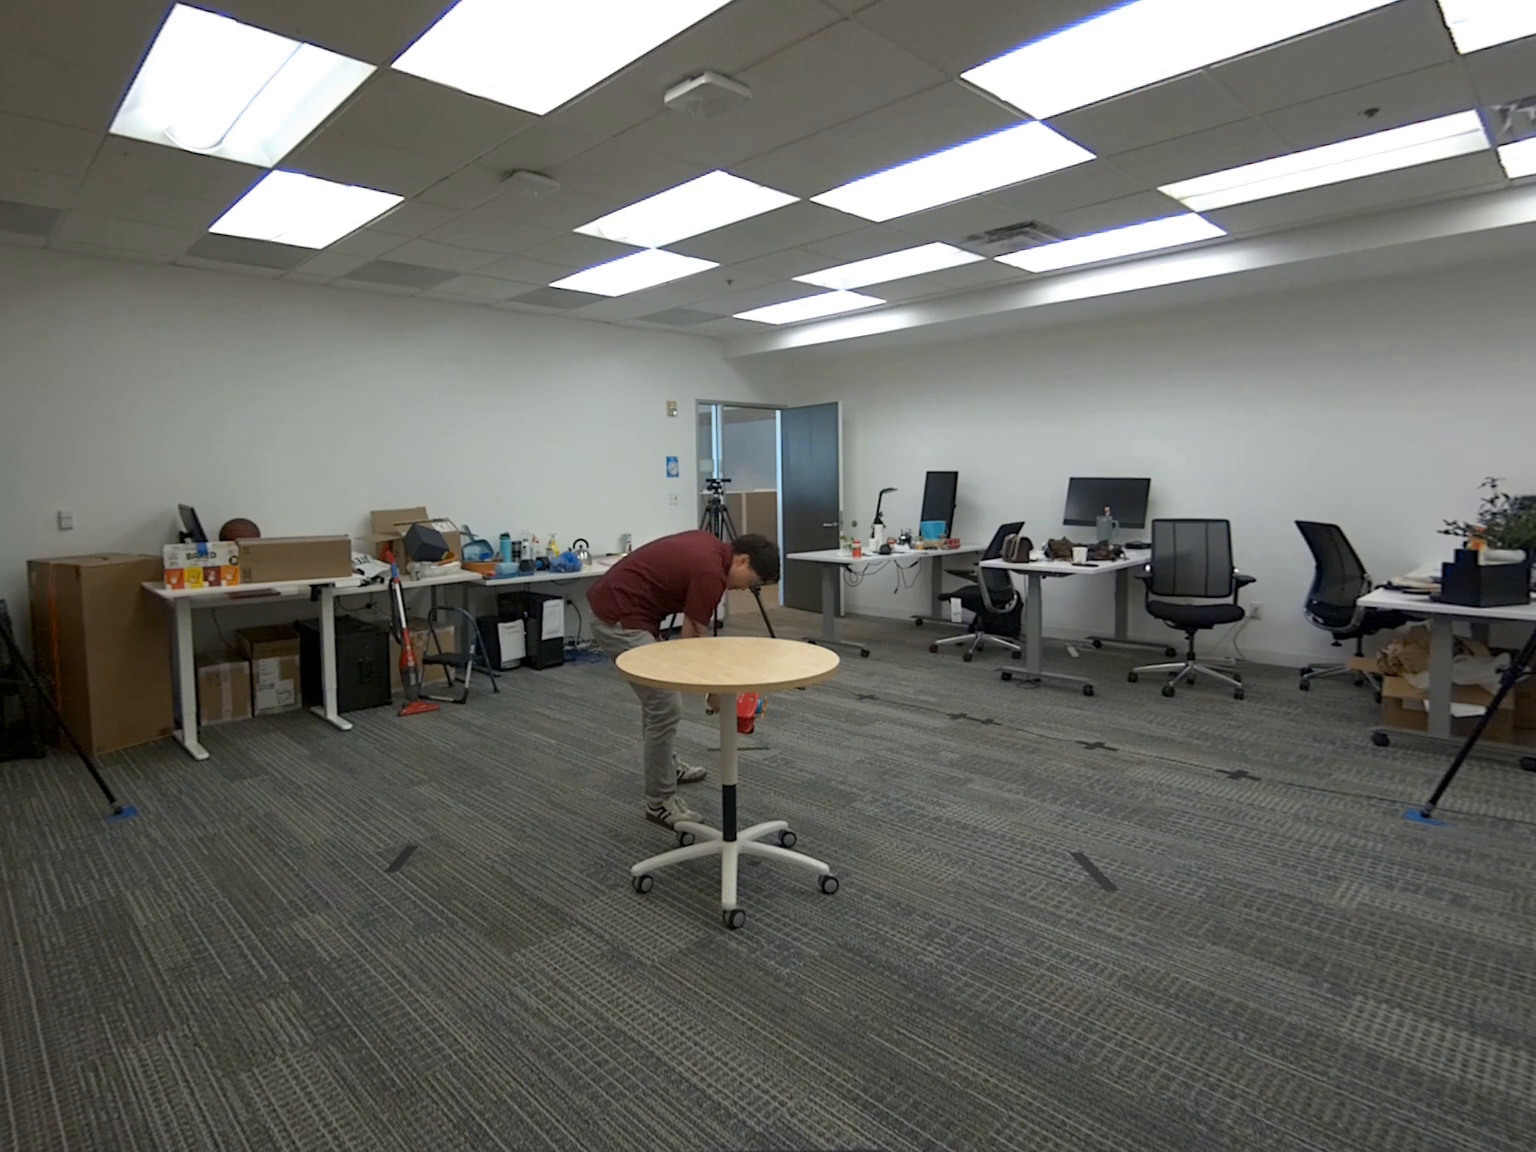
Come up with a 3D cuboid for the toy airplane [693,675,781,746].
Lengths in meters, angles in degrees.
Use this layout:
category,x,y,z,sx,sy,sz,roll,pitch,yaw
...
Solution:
category,x,y,z,sx,sy,sz,roll,pitch,yaw
toy airplane,-0.138,0.570,3.657,0.252,0.155,0.261,5,33,-31
